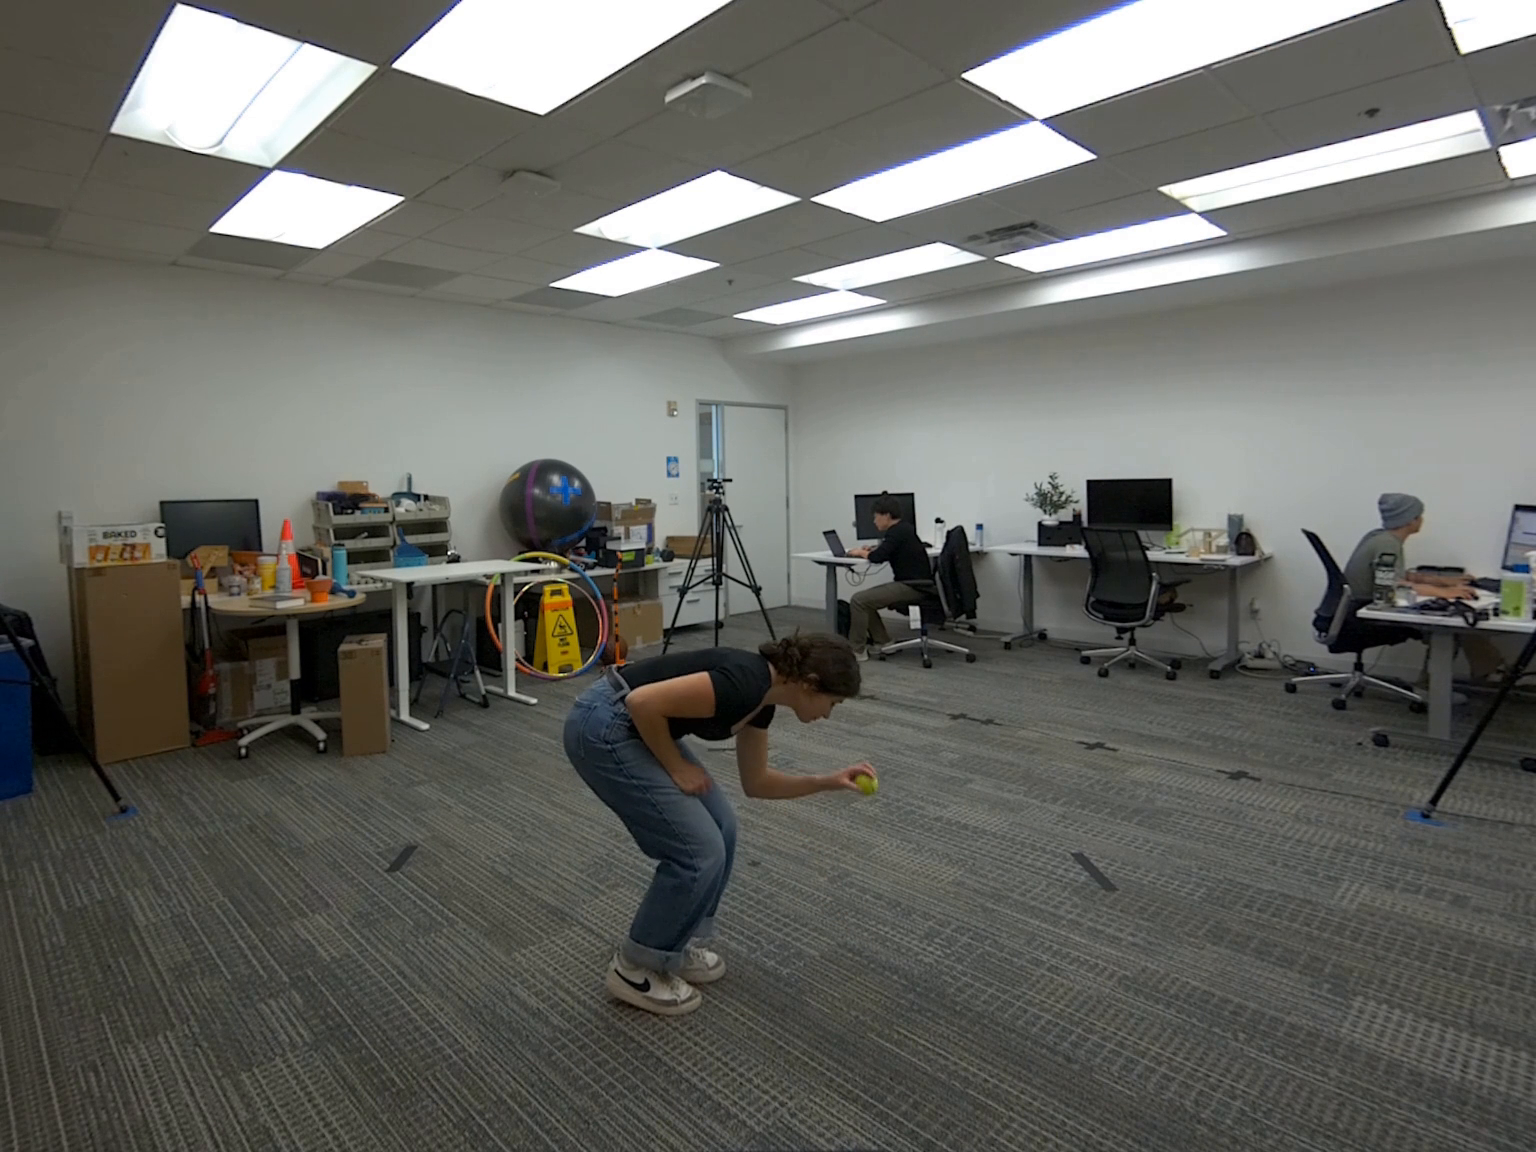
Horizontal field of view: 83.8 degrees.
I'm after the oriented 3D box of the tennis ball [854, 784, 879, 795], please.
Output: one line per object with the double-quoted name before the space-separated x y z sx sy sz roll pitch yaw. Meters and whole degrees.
"tennis ball" 0.265 0.651 2.400 0.066 0.066 0.067 -1 5 -2
